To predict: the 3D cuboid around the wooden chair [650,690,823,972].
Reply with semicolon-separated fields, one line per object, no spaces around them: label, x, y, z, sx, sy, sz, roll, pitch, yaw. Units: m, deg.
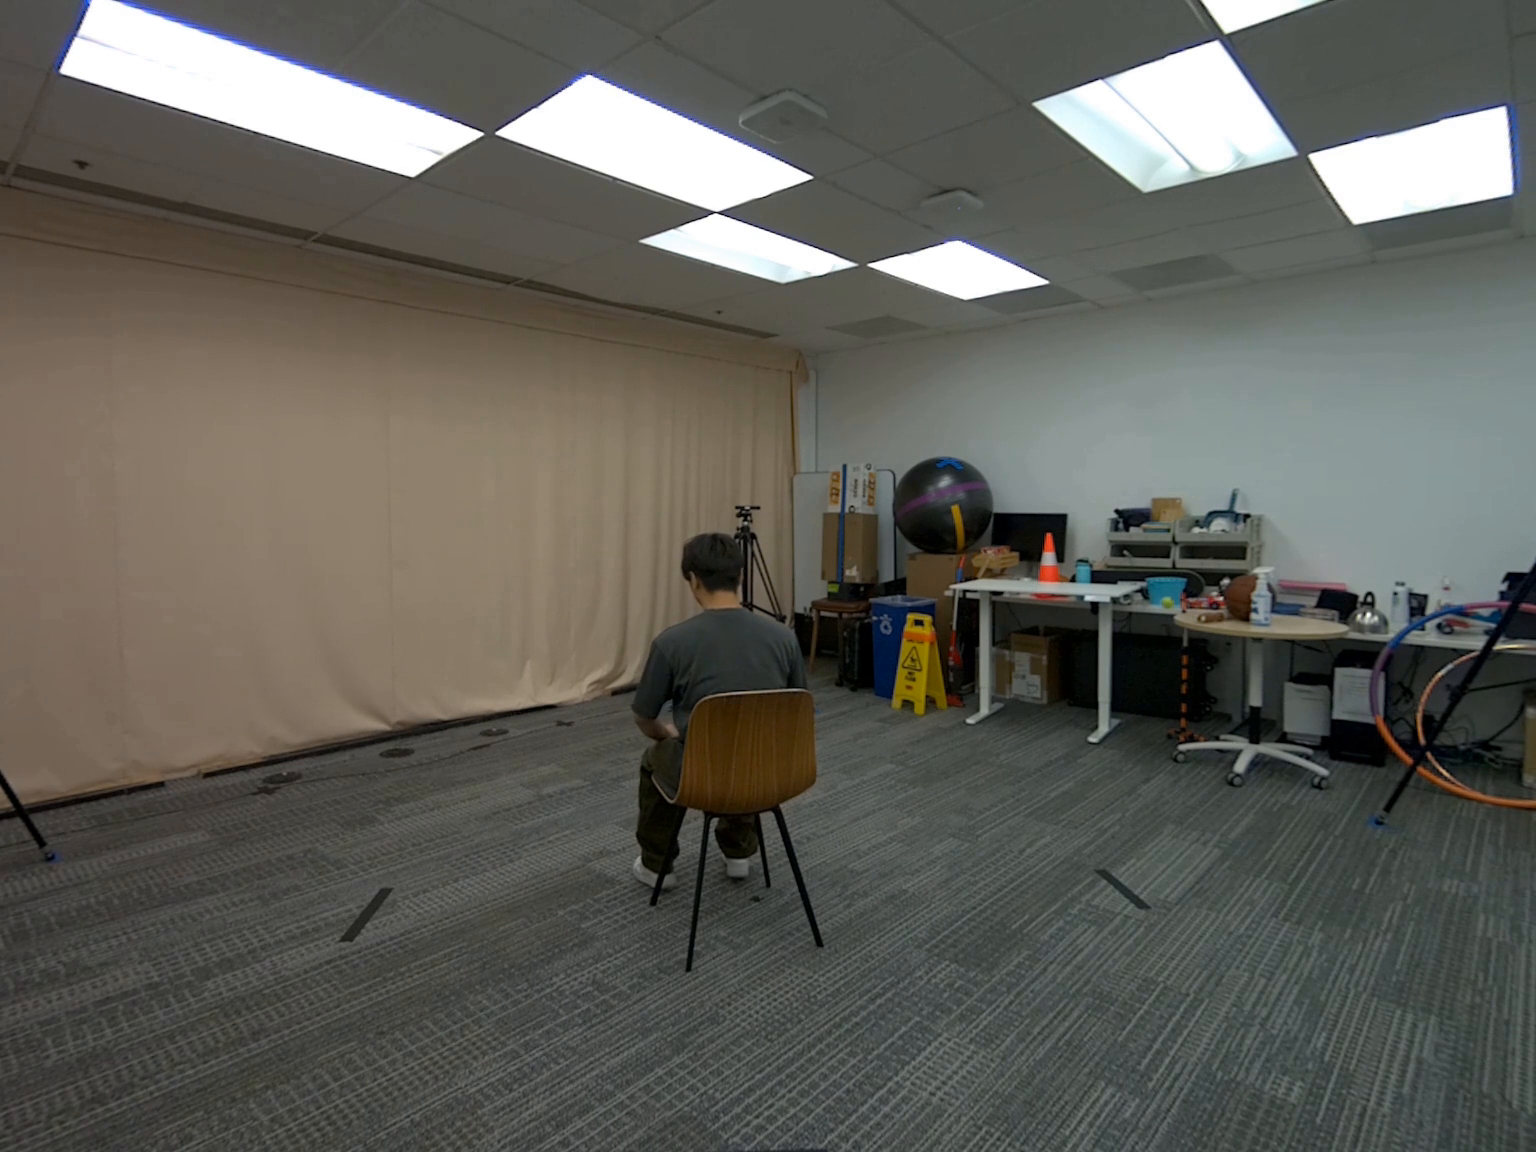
wooden chair;-0.119;0.730;2.777;0.469;0.874;0.536;-2;7;-20
